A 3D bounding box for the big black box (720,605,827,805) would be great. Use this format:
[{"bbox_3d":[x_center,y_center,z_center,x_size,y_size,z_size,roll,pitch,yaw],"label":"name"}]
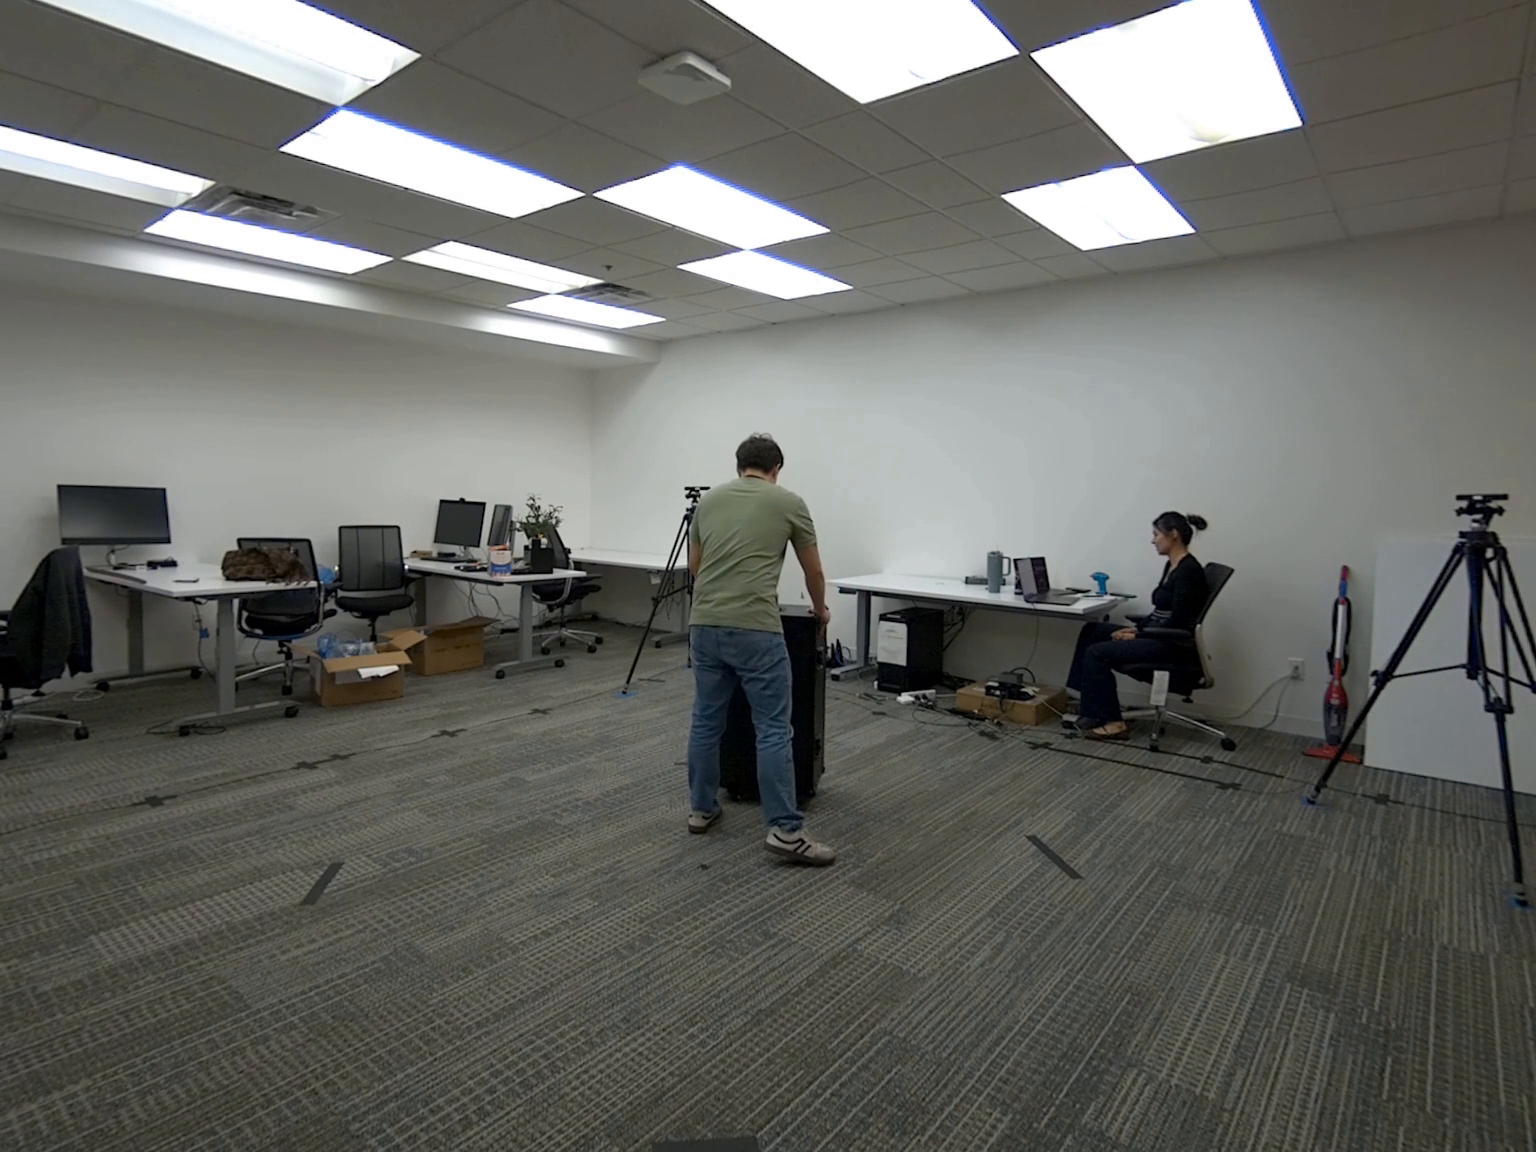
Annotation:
[{"bbox_3d":[-0.005,0.567,3.867,0.530,0.860,0.391,2,2,14],"label":"big black box"}]
